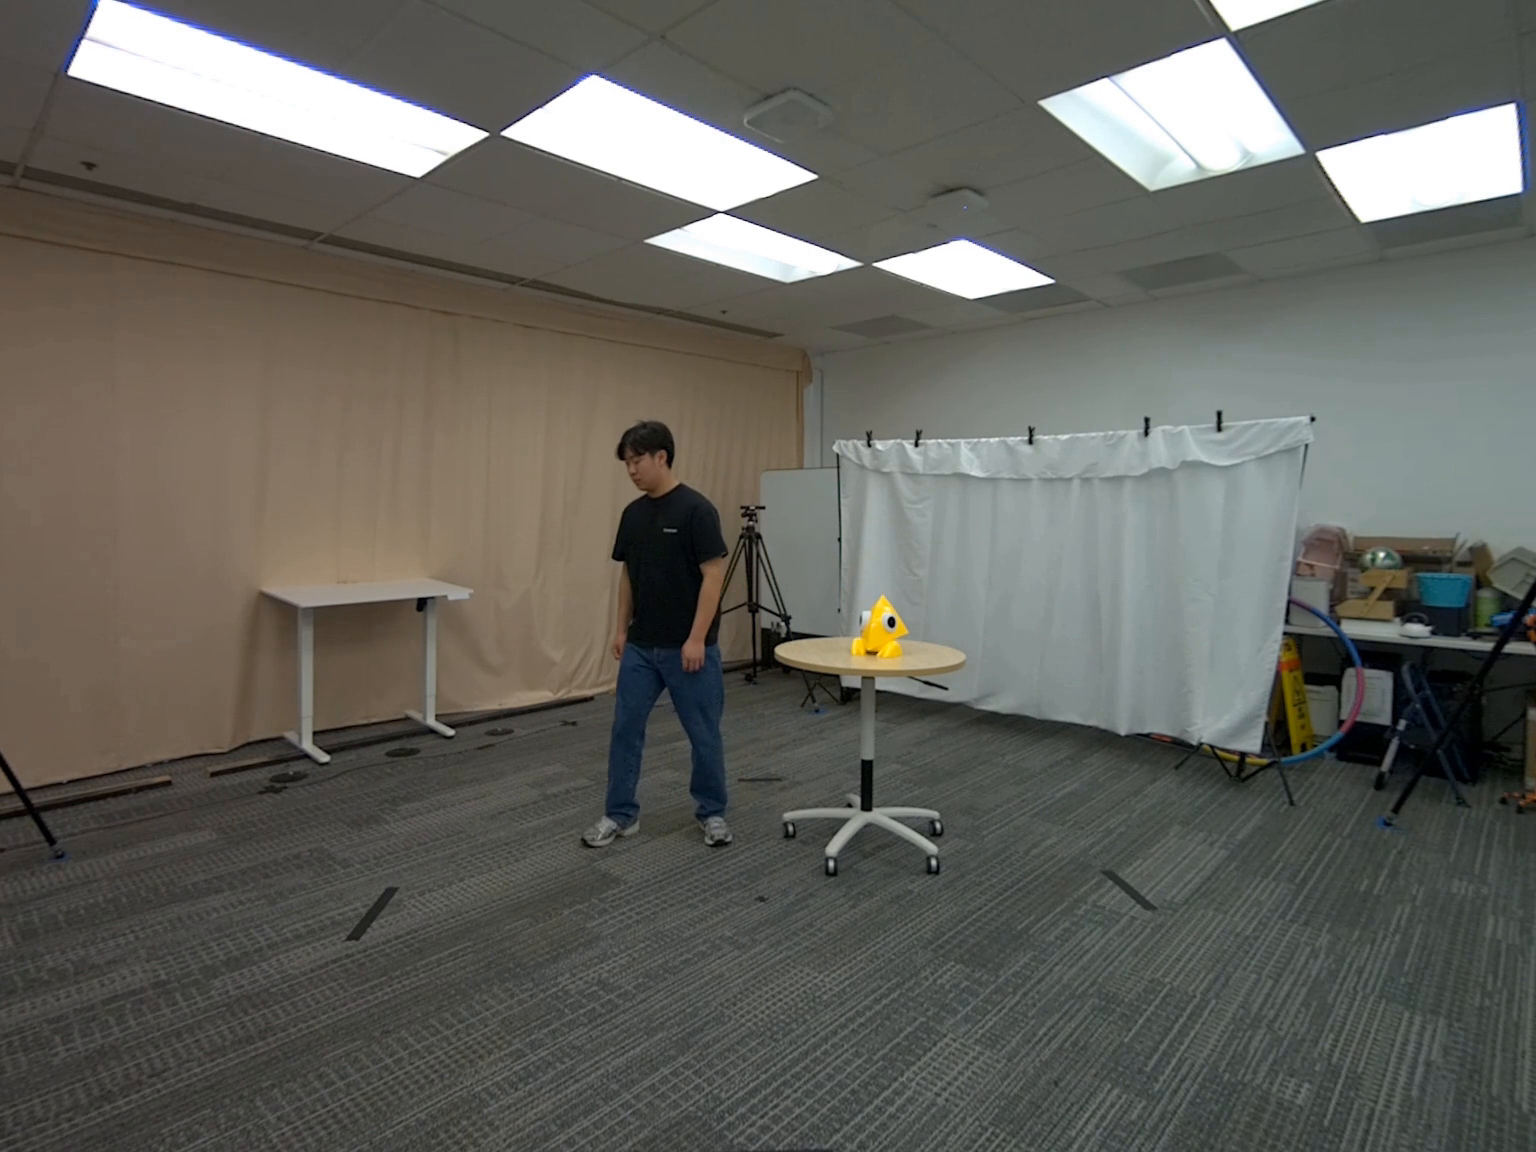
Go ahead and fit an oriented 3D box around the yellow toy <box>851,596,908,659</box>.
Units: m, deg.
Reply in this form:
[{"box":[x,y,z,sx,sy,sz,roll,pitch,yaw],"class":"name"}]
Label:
[{"box":[0.449,0.199,3.404,0.210,0.230,0.188,2,4,29],"class":"yellow toy"}]
